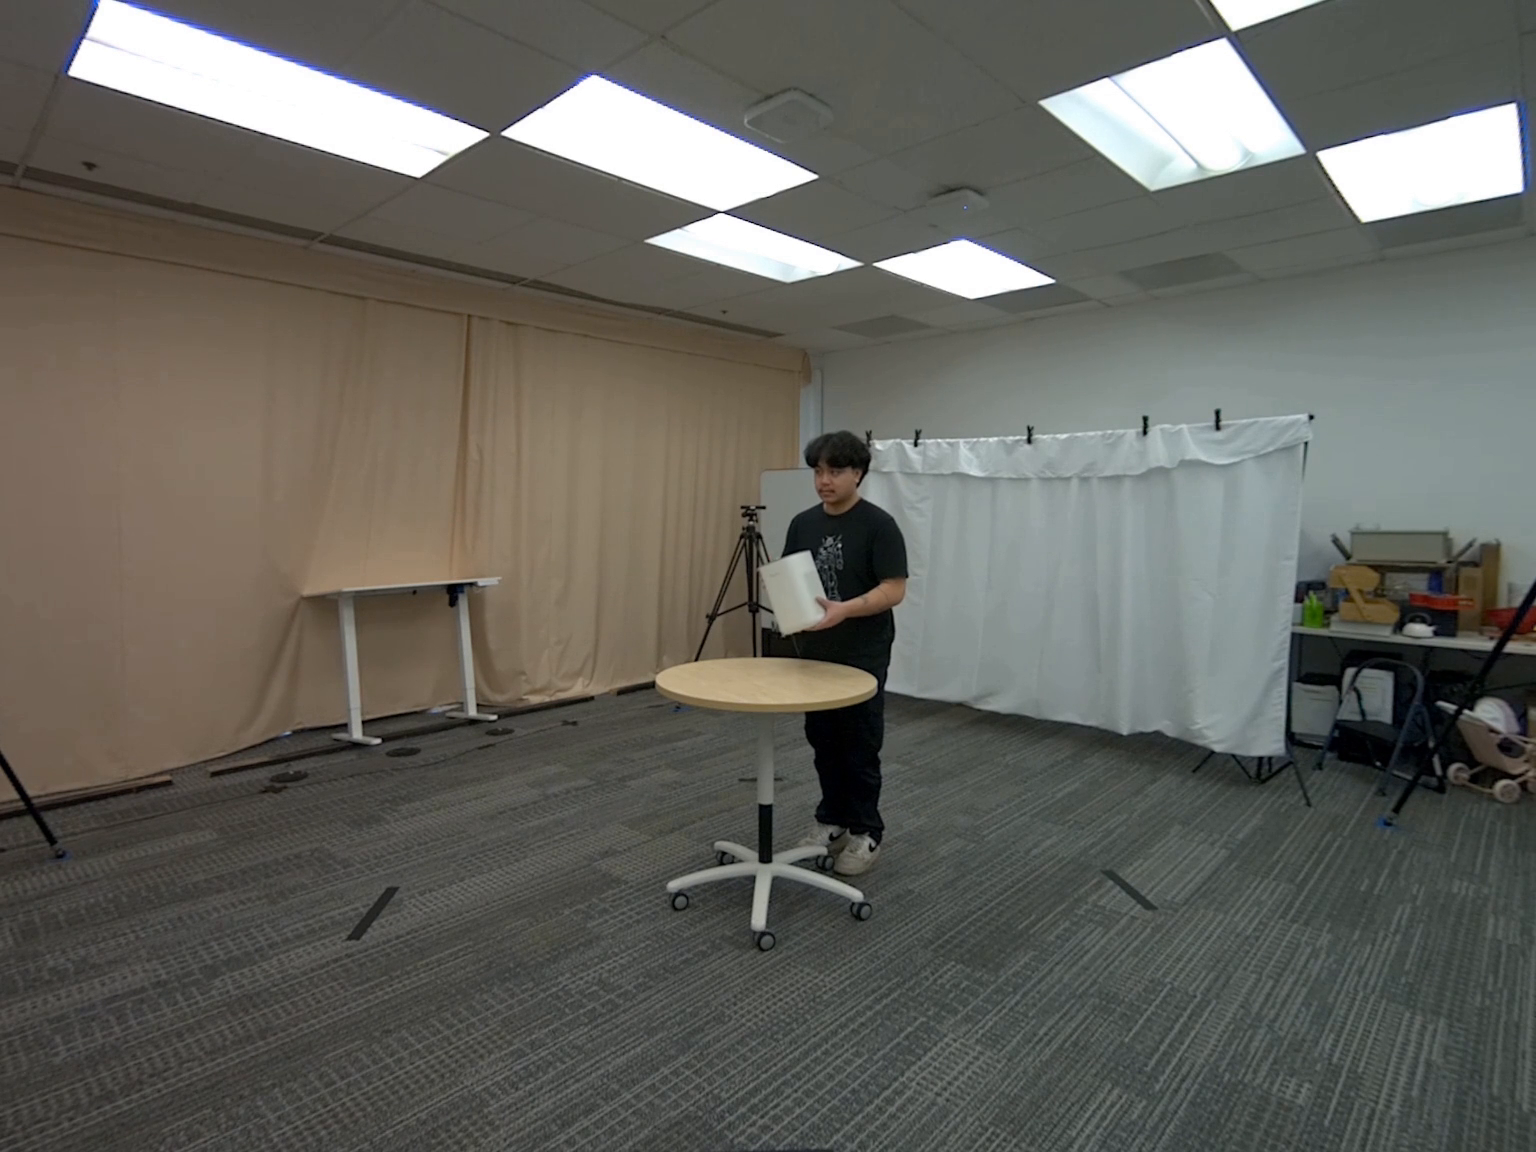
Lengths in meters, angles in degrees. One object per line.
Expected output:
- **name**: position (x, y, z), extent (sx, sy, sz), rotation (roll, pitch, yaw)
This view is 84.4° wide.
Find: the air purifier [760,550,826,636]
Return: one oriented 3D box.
- **air purifier**: position (0.107, 0.057, 3.048), extent (0.175, 0.266, 0.167), rotation (-21, -5, 34)
